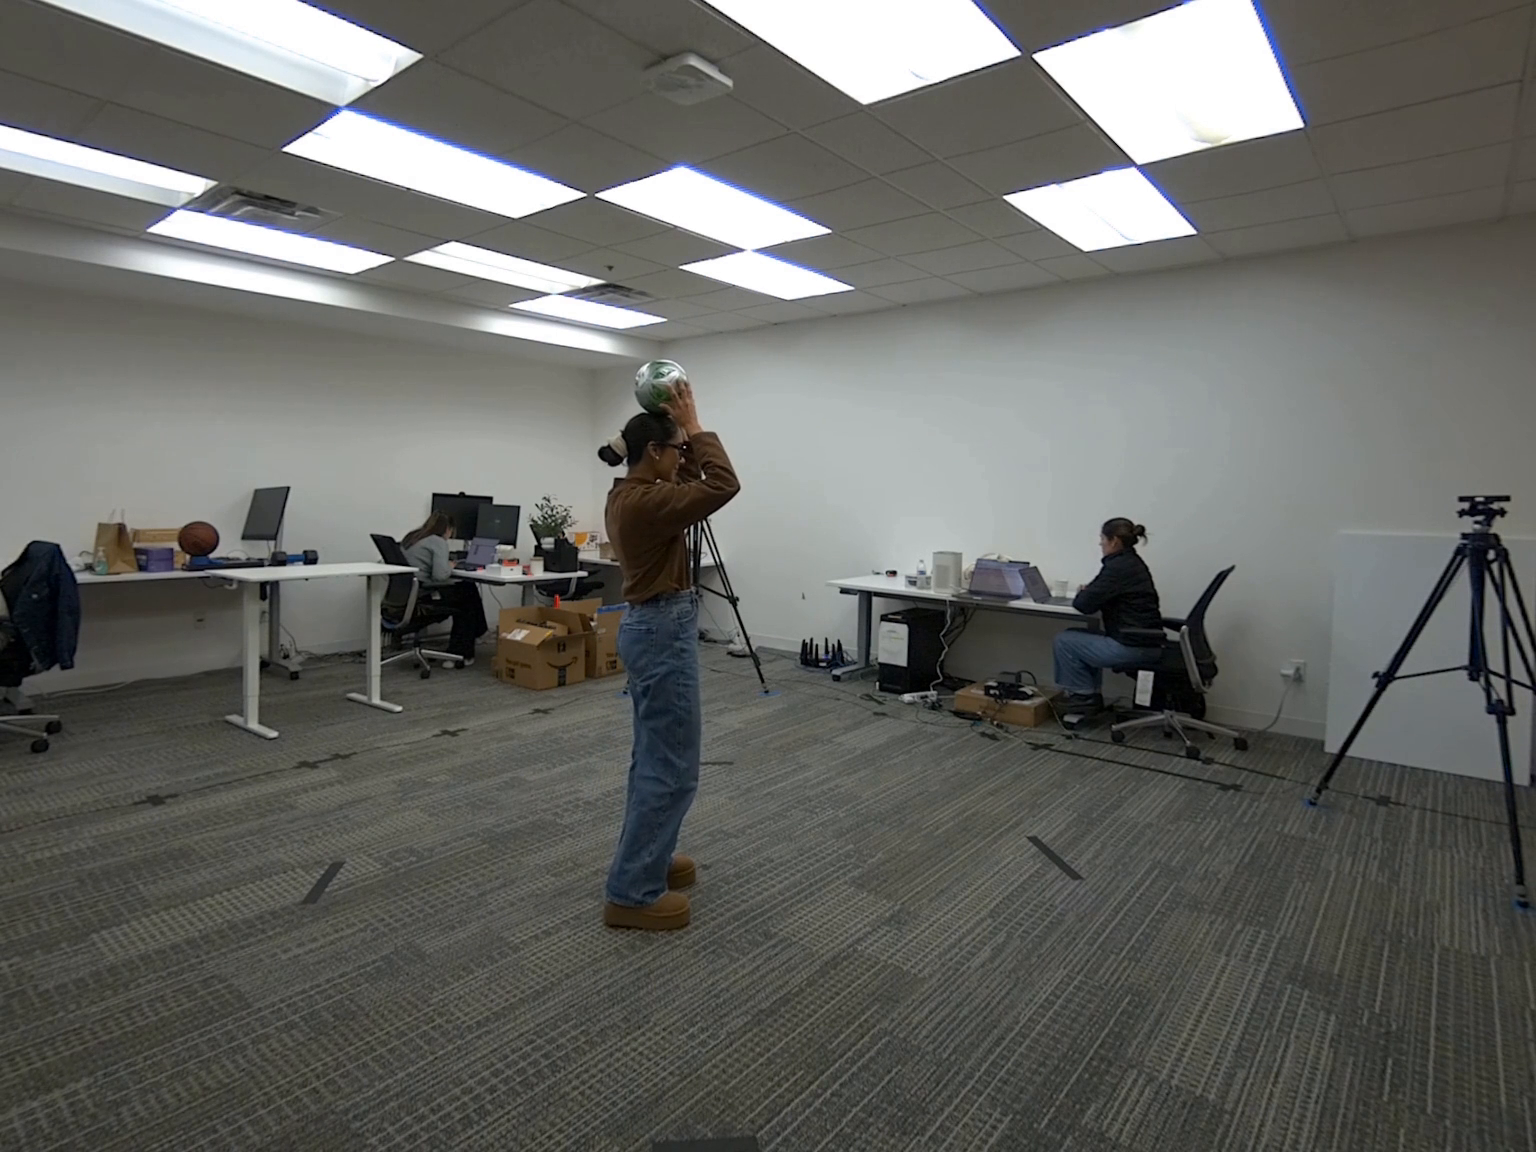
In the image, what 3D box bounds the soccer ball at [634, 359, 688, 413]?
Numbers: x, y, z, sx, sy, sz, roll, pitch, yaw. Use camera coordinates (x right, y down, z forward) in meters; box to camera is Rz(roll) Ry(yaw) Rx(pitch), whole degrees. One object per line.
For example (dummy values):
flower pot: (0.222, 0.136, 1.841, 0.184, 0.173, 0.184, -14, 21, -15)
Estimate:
soccer ball: (-0.364, -0.631, 2.844, 0.187, 0.187, 0.188, 1, 4, -2)
